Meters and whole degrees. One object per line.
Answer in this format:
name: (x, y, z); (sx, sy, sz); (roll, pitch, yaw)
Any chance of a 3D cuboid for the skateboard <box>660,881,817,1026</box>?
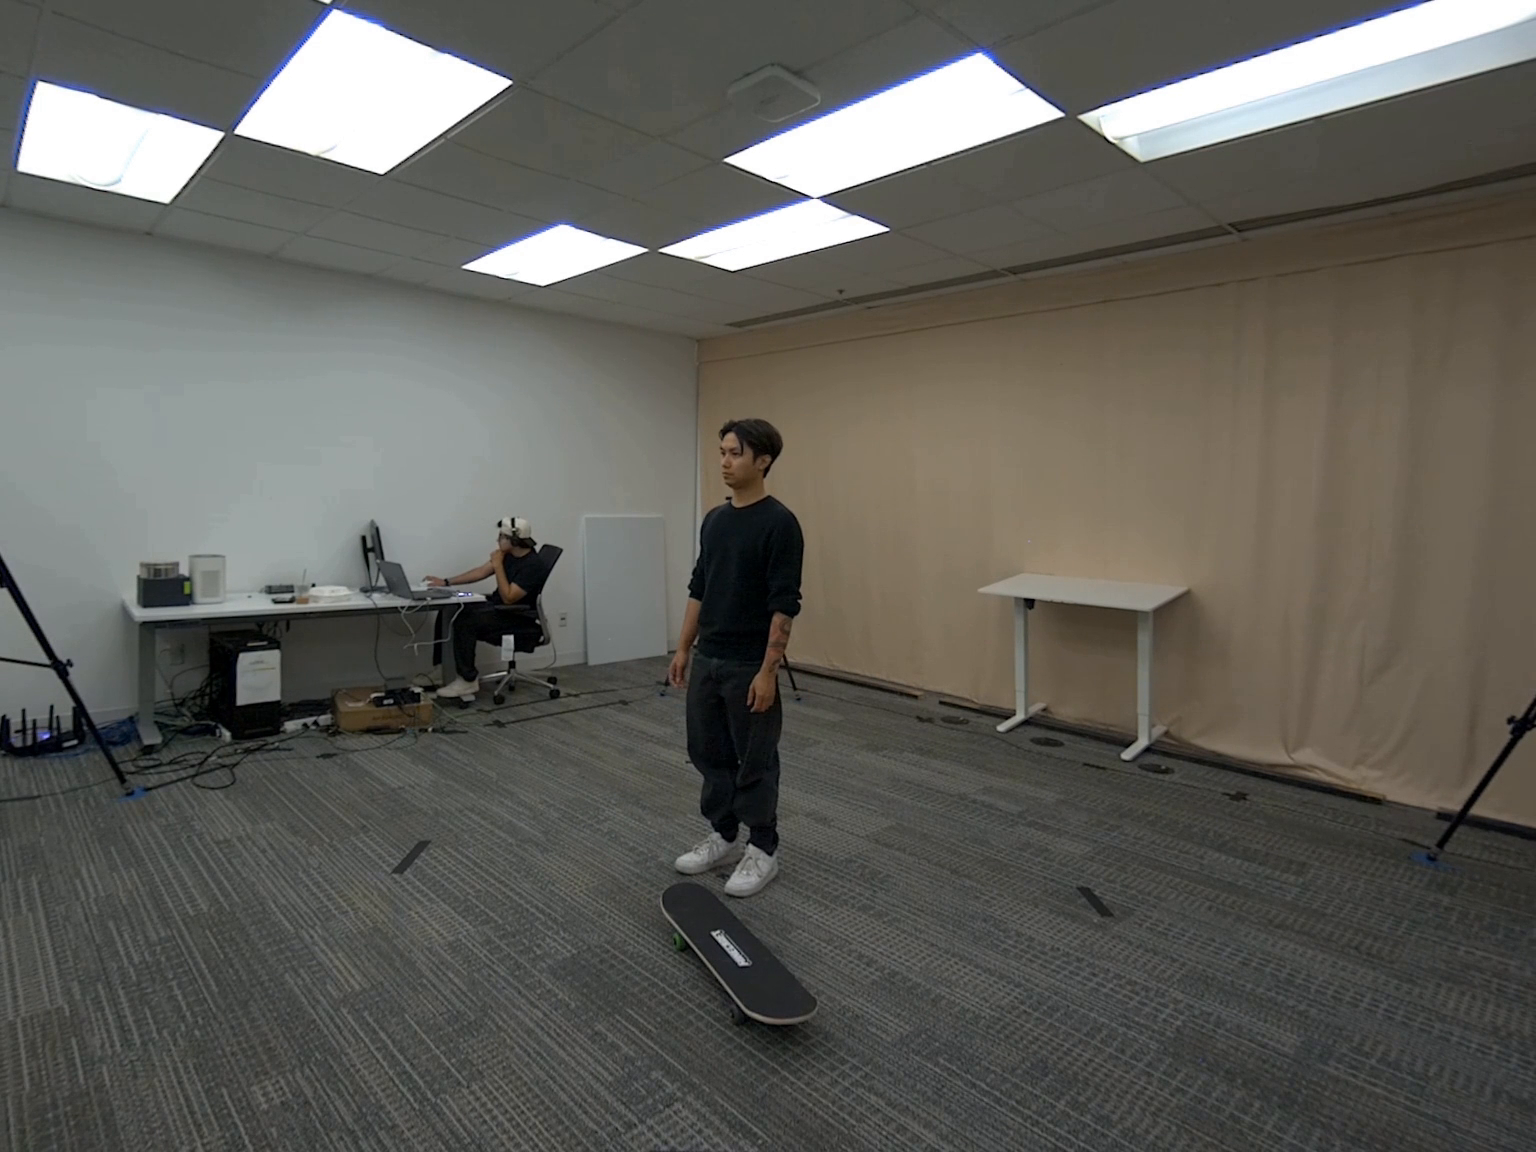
skateboard: (-0.122, 1.115, 2.444); (0.190, 0.110, 0.803); (-2, 6, -28)
